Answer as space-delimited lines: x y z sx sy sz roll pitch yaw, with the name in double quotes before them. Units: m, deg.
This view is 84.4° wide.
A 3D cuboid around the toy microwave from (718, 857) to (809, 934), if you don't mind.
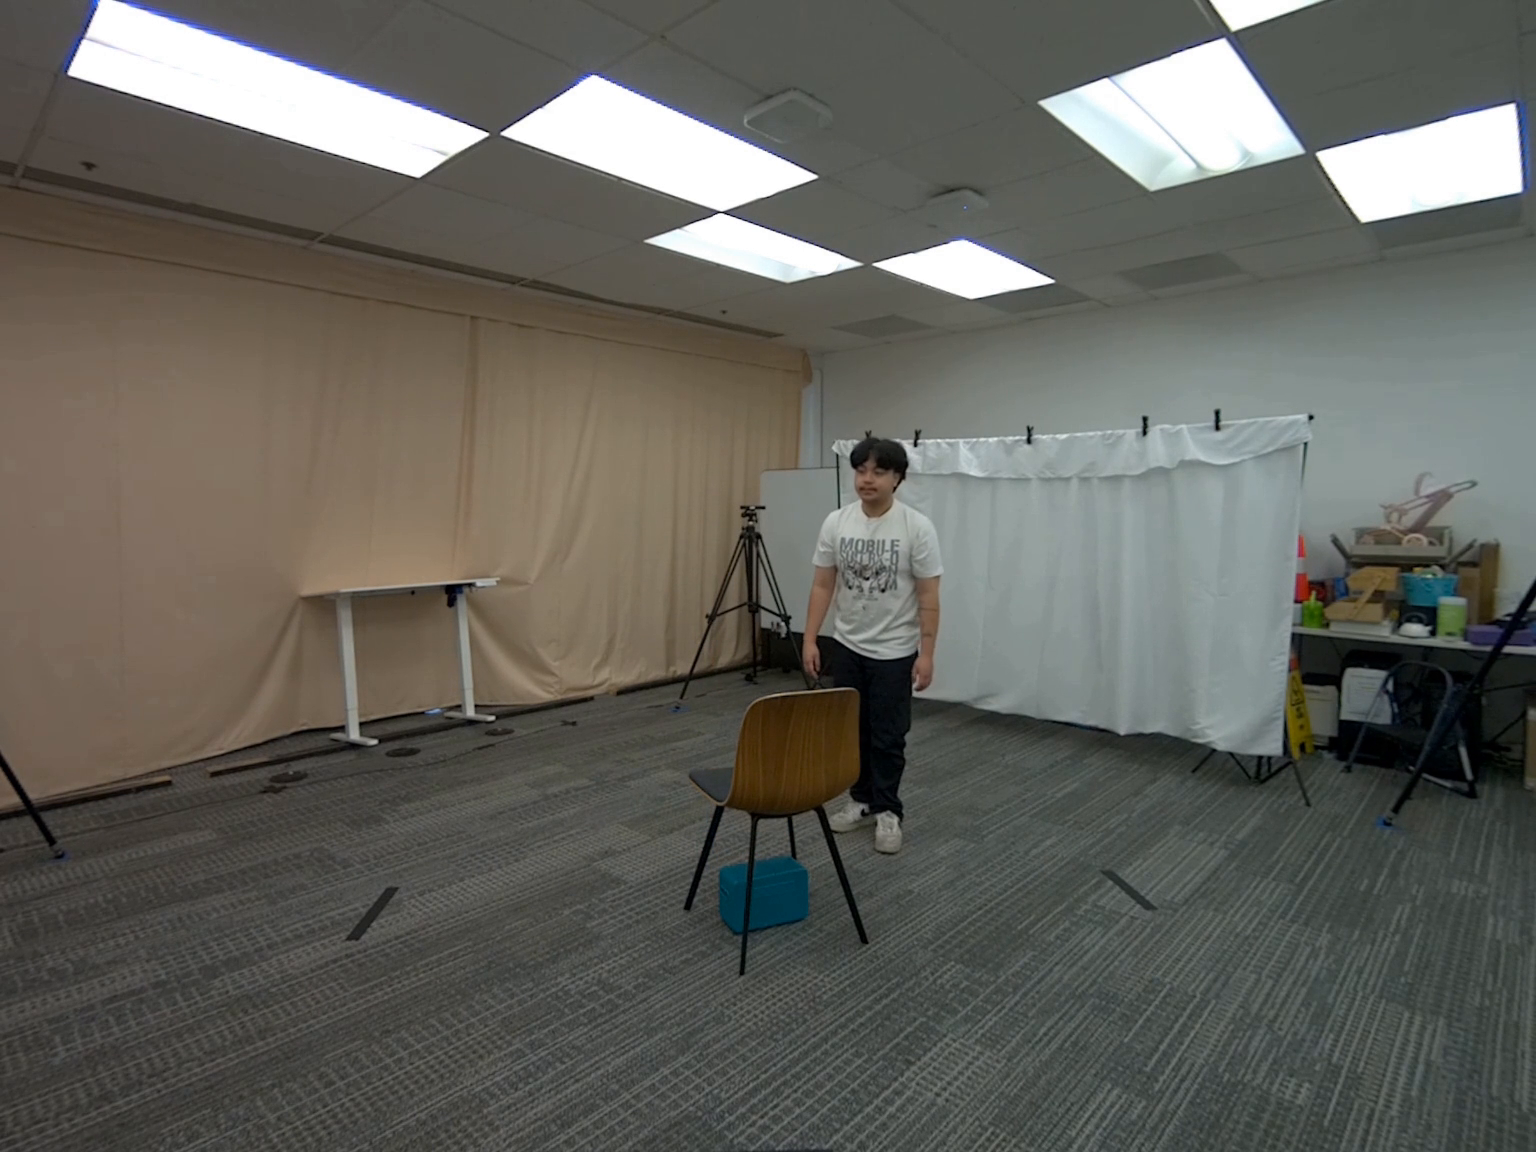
"toy microwave" -0.021 1.060 2.835 0.279 0.184 0.156 -2 4 -24
